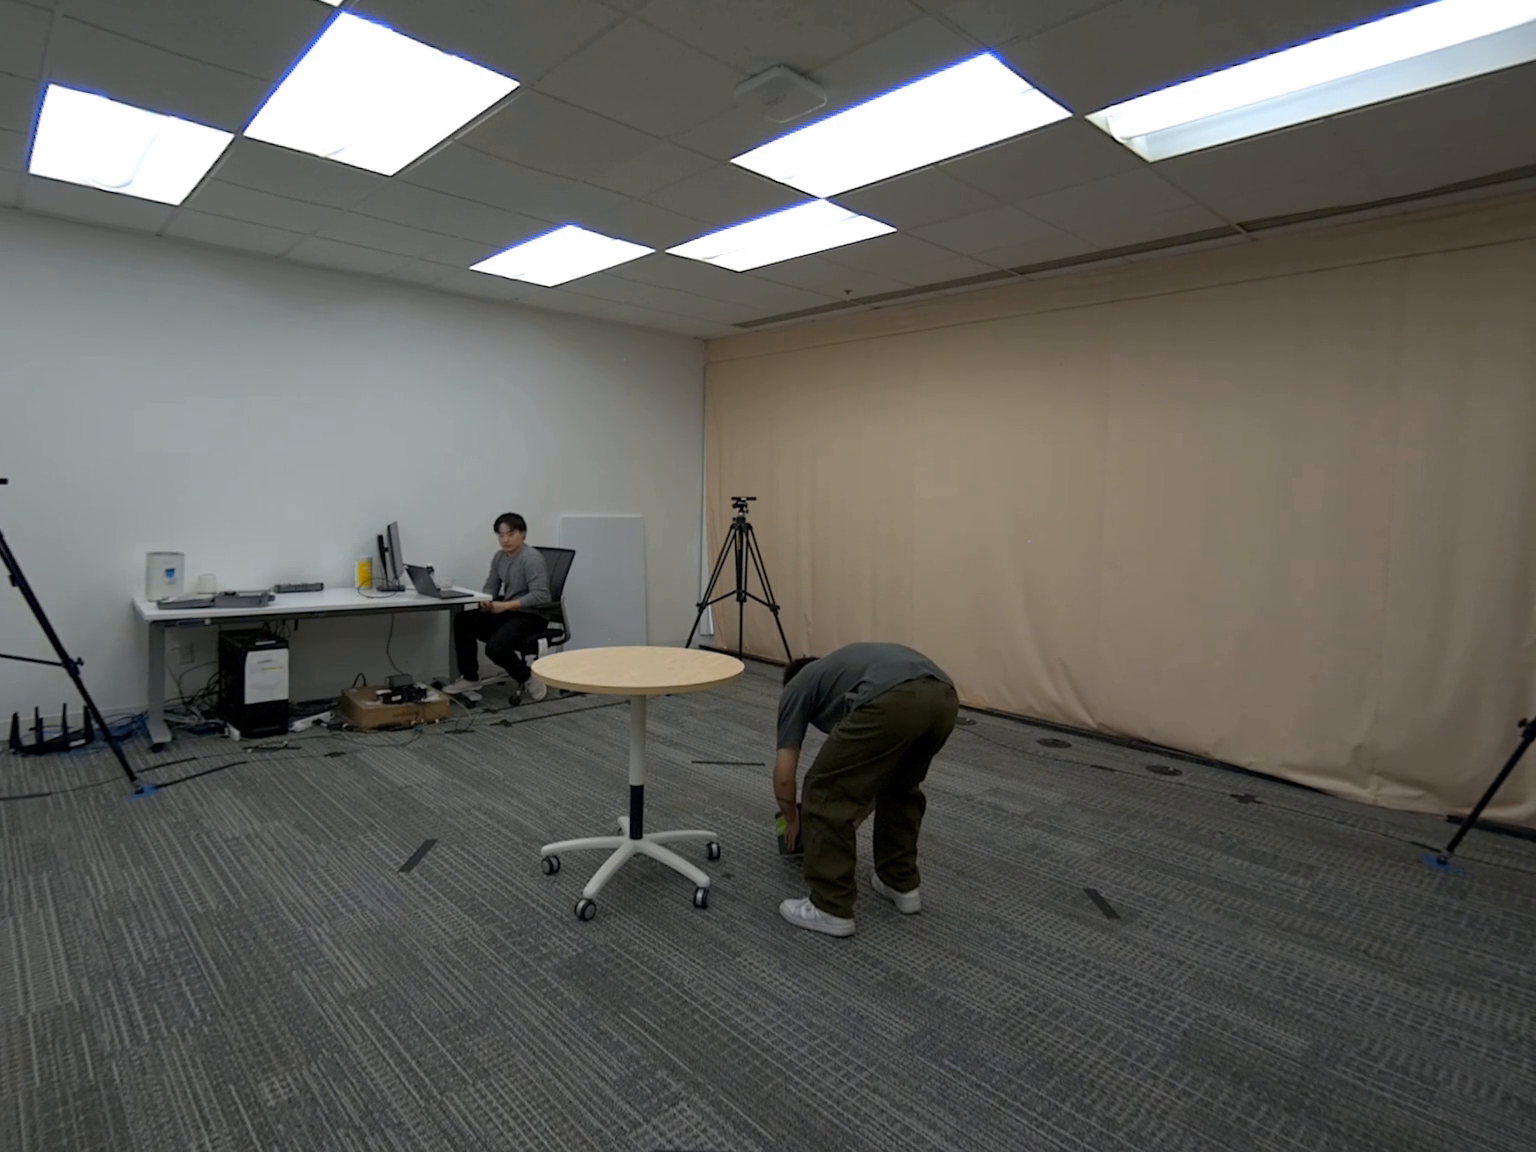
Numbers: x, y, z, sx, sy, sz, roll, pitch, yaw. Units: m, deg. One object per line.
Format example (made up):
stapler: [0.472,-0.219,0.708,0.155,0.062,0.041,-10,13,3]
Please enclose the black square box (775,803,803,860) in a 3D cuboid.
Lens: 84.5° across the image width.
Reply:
black square box: [0.164,0.980,3.250,0.213,0.159,0.227,3,-27,-23]
